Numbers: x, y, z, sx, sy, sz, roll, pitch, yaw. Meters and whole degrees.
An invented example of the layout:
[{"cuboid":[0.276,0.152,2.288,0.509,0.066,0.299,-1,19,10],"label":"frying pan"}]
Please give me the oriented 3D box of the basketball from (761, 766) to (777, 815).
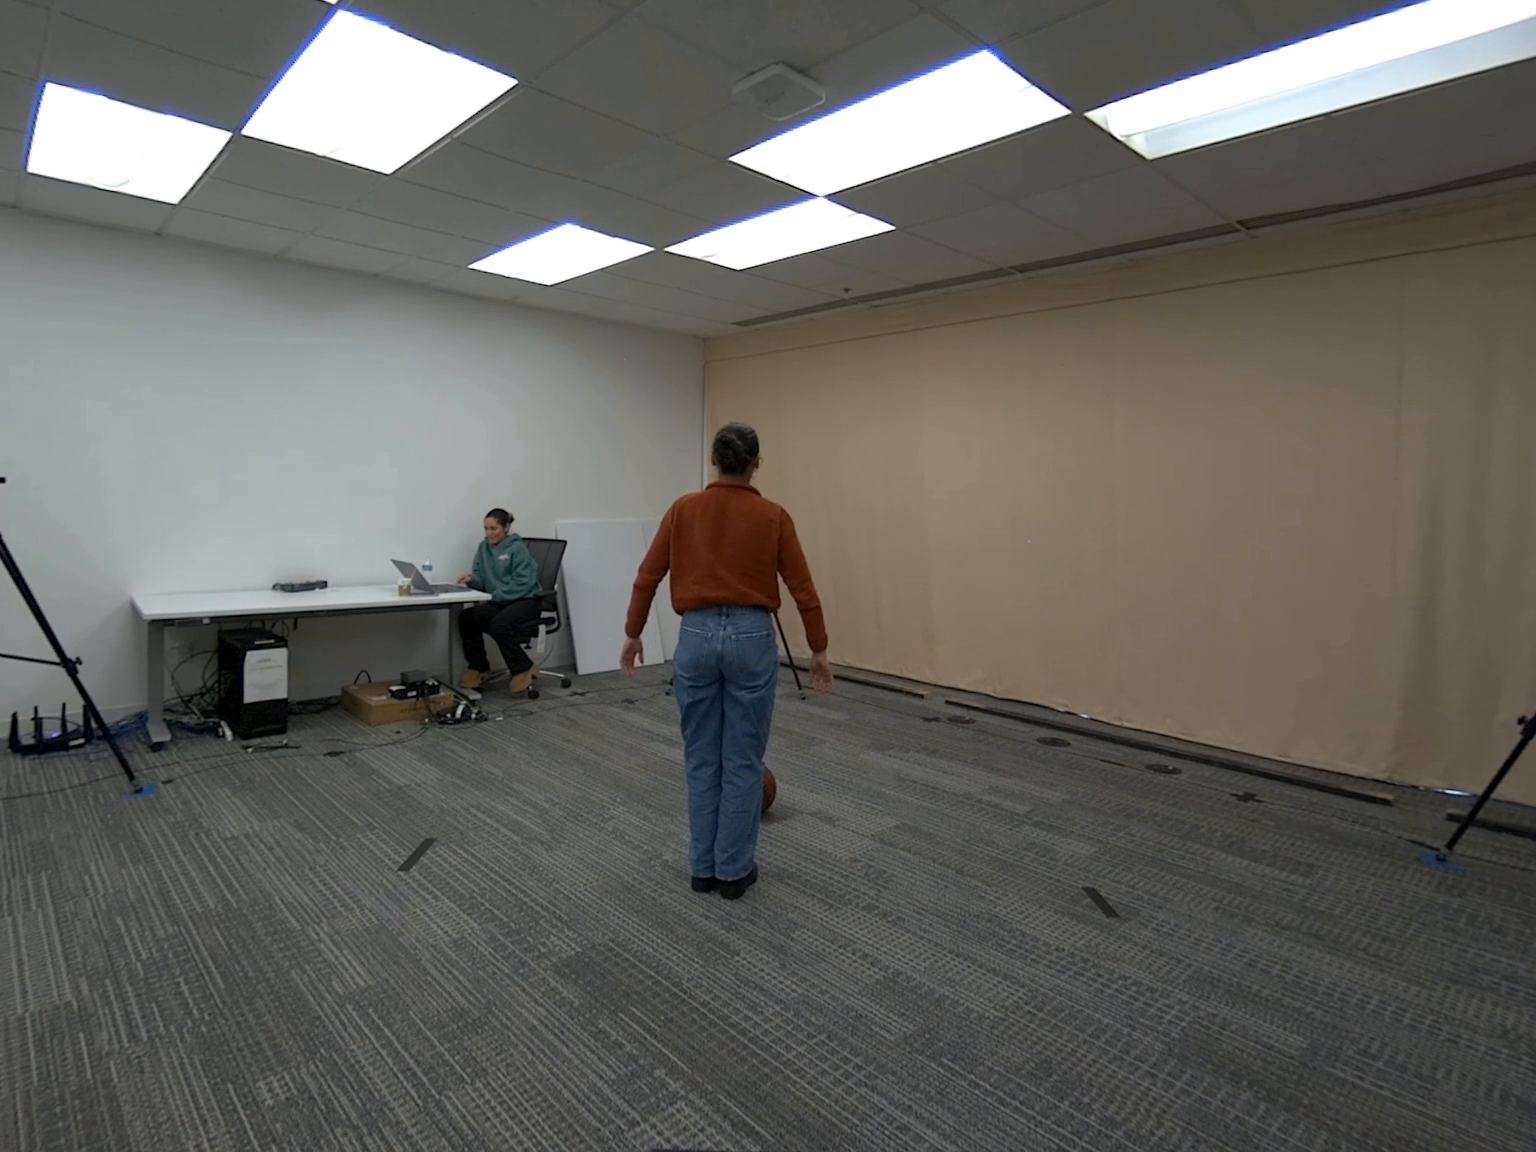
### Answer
[{"cuboid":[-0.089,0.933,3.703,0.236,0.235,0.237,1,4,-1],"label":"basketball"}]
